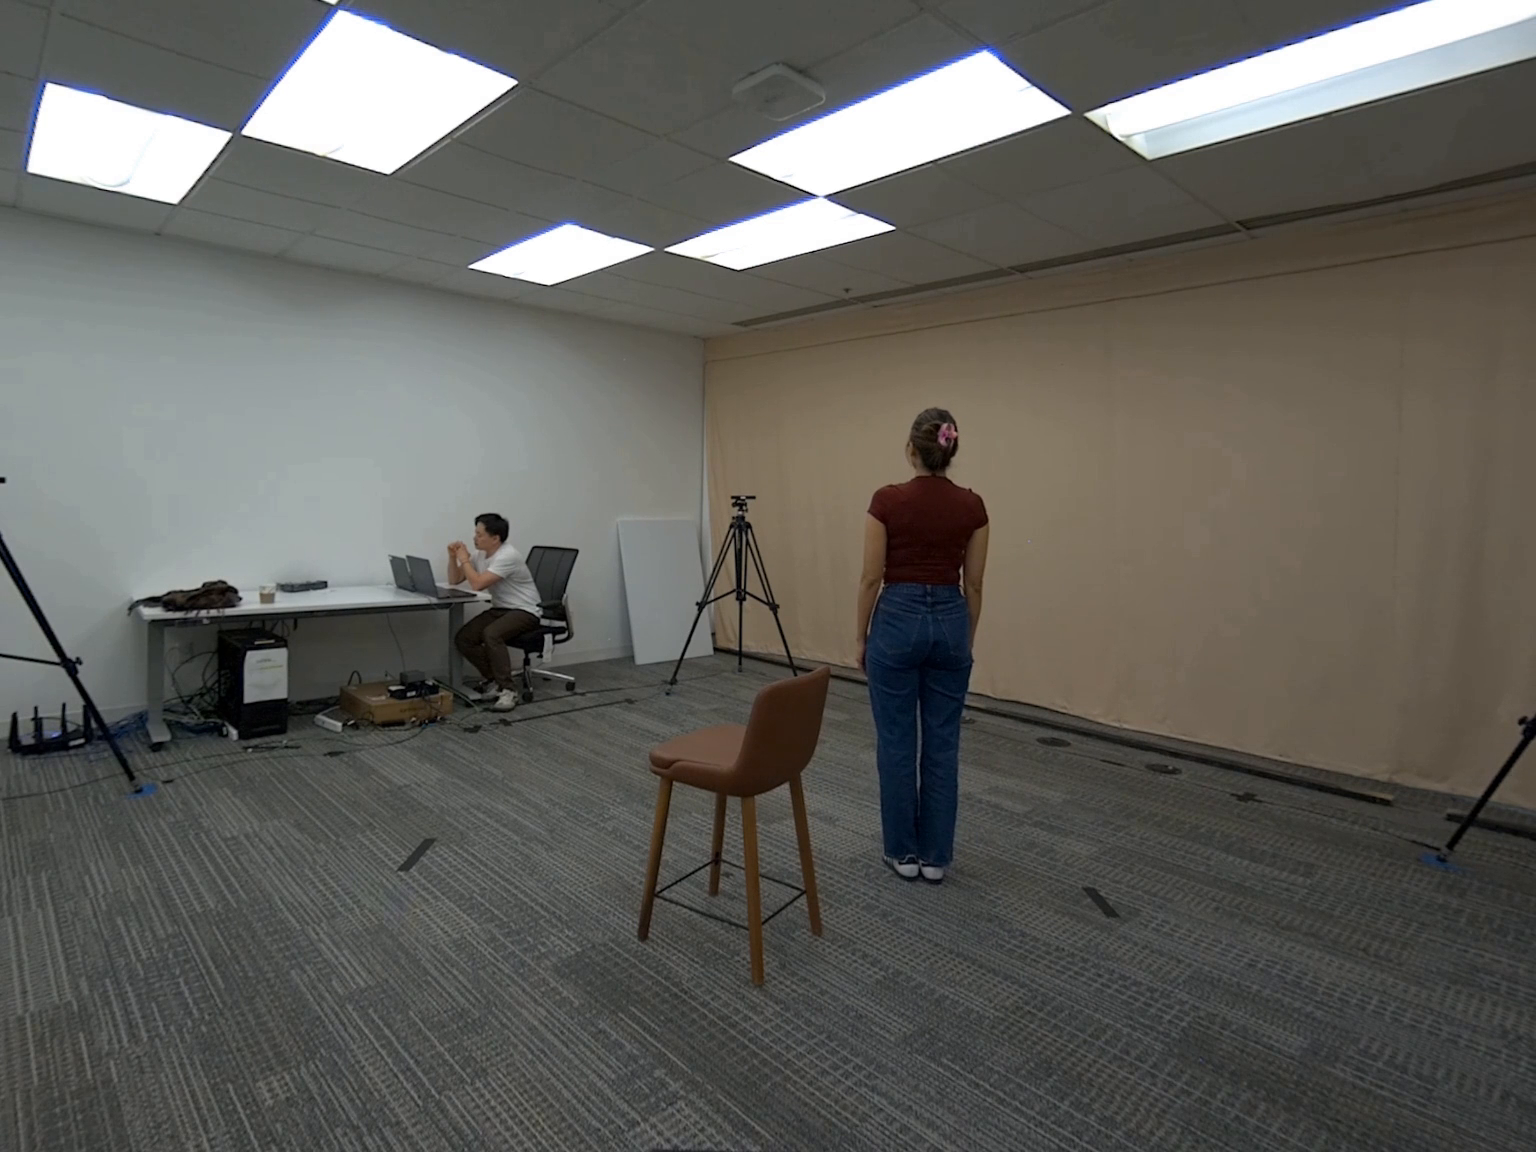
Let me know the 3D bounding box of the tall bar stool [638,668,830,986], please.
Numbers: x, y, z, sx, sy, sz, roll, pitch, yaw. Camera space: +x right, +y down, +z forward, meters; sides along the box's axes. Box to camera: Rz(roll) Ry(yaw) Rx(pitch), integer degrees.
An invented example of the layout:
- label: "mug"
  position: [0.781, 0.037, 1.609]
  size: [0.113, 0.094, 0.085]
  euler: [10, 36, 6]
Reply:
- label: "tall bar stool"
  position: [-0.103, 0.711, 2.641]
  size: [0.479, 0.886, 0.447]
  euler: [6, 6, 34]
